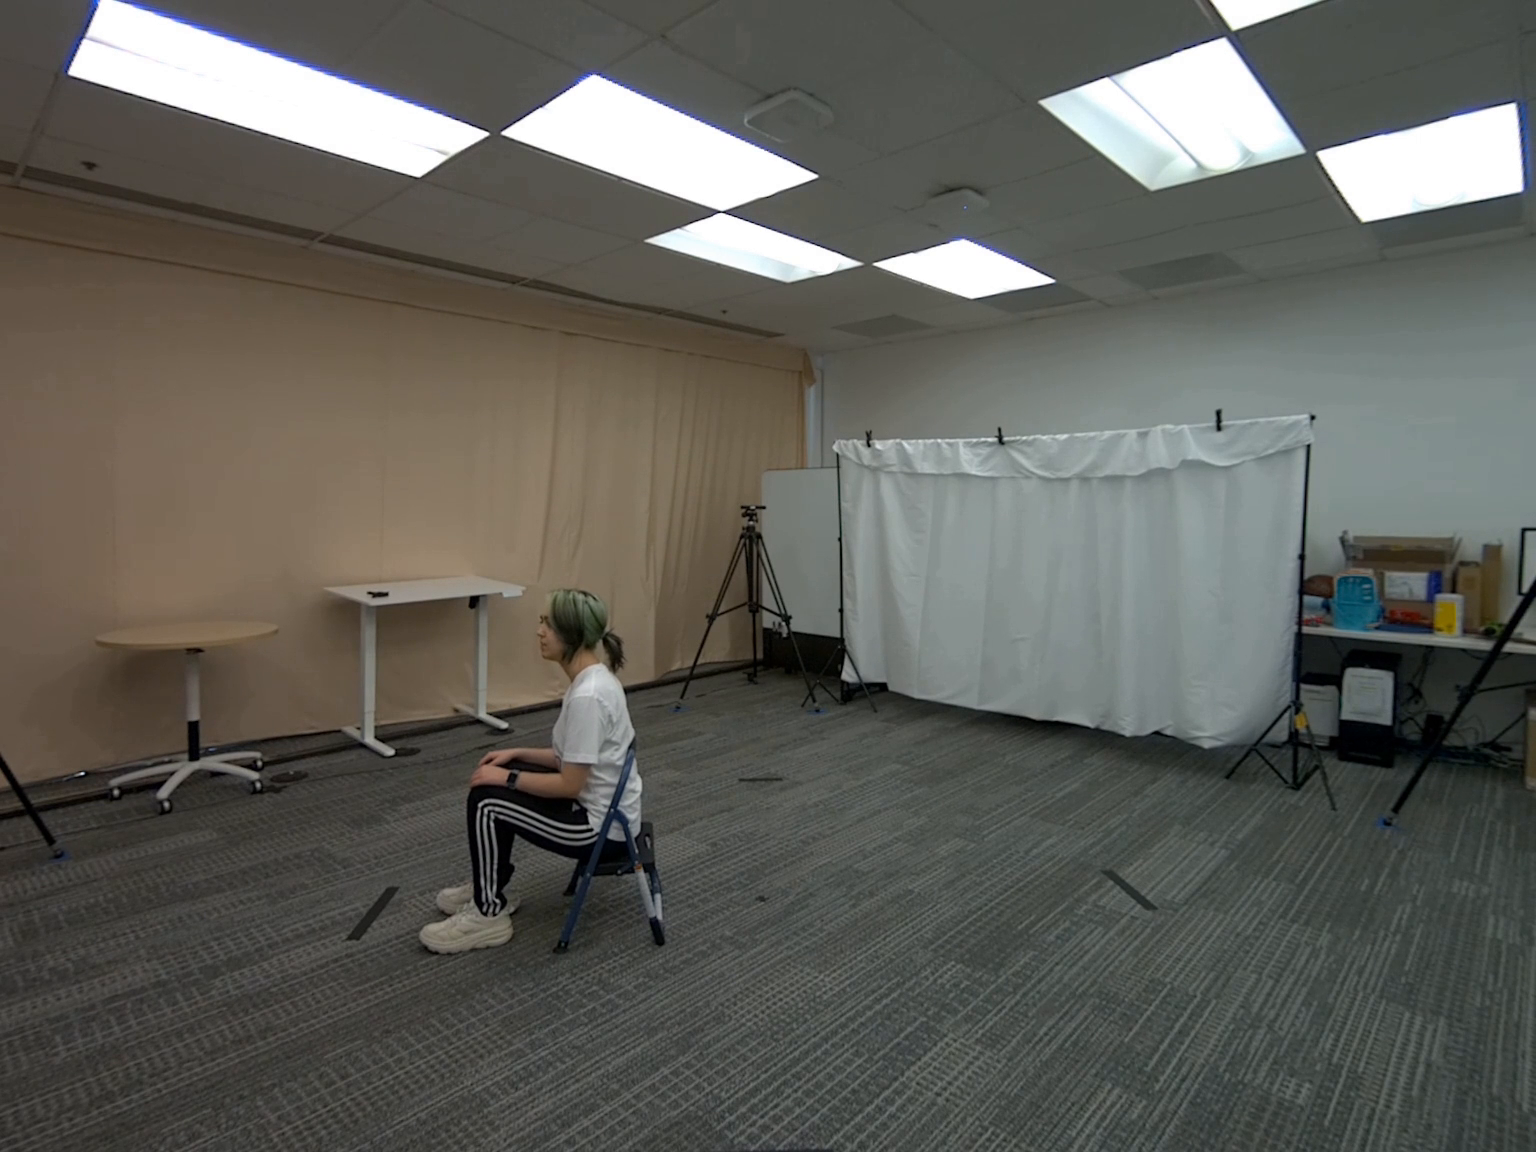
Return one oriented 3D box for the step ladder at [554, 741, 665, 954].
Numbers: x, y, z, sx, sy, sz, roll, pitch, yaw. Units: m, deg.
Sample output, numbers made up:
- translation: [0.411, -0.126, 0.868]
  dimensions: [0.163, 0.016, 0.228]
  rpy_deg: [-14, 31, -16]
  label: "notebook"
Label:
- translation: [-0.531, 0.864, 2.836]
  dimensions: [0.346, 0.605, 0.435]
  rpy_deg: [-2, 3, -9]
  label: "step ladder"
